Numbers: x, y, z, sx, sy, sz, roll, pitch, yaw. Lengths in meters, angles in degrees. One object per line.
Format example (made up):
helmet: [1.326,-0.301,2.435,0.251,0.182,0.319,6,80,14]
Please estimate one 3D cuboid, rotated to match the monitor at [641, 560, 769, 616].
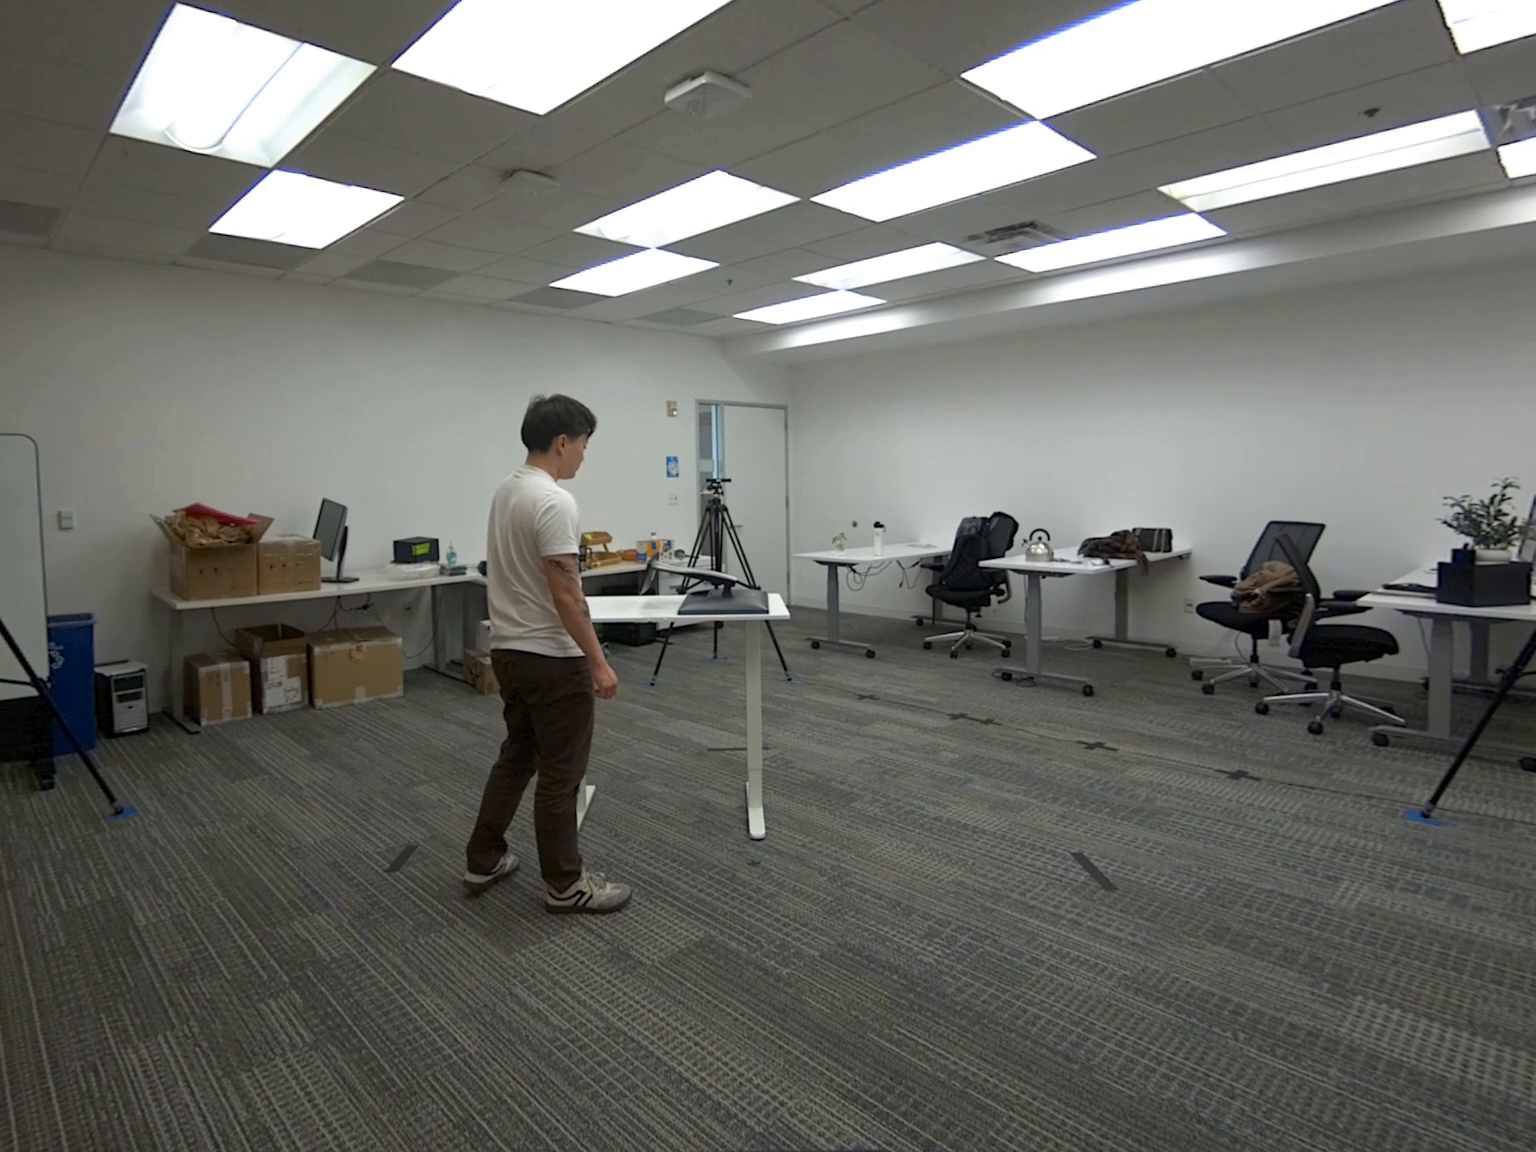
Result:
monitor: [-0.254,0.056,3.545,0.523,0.186,0.541,16,7,0]
